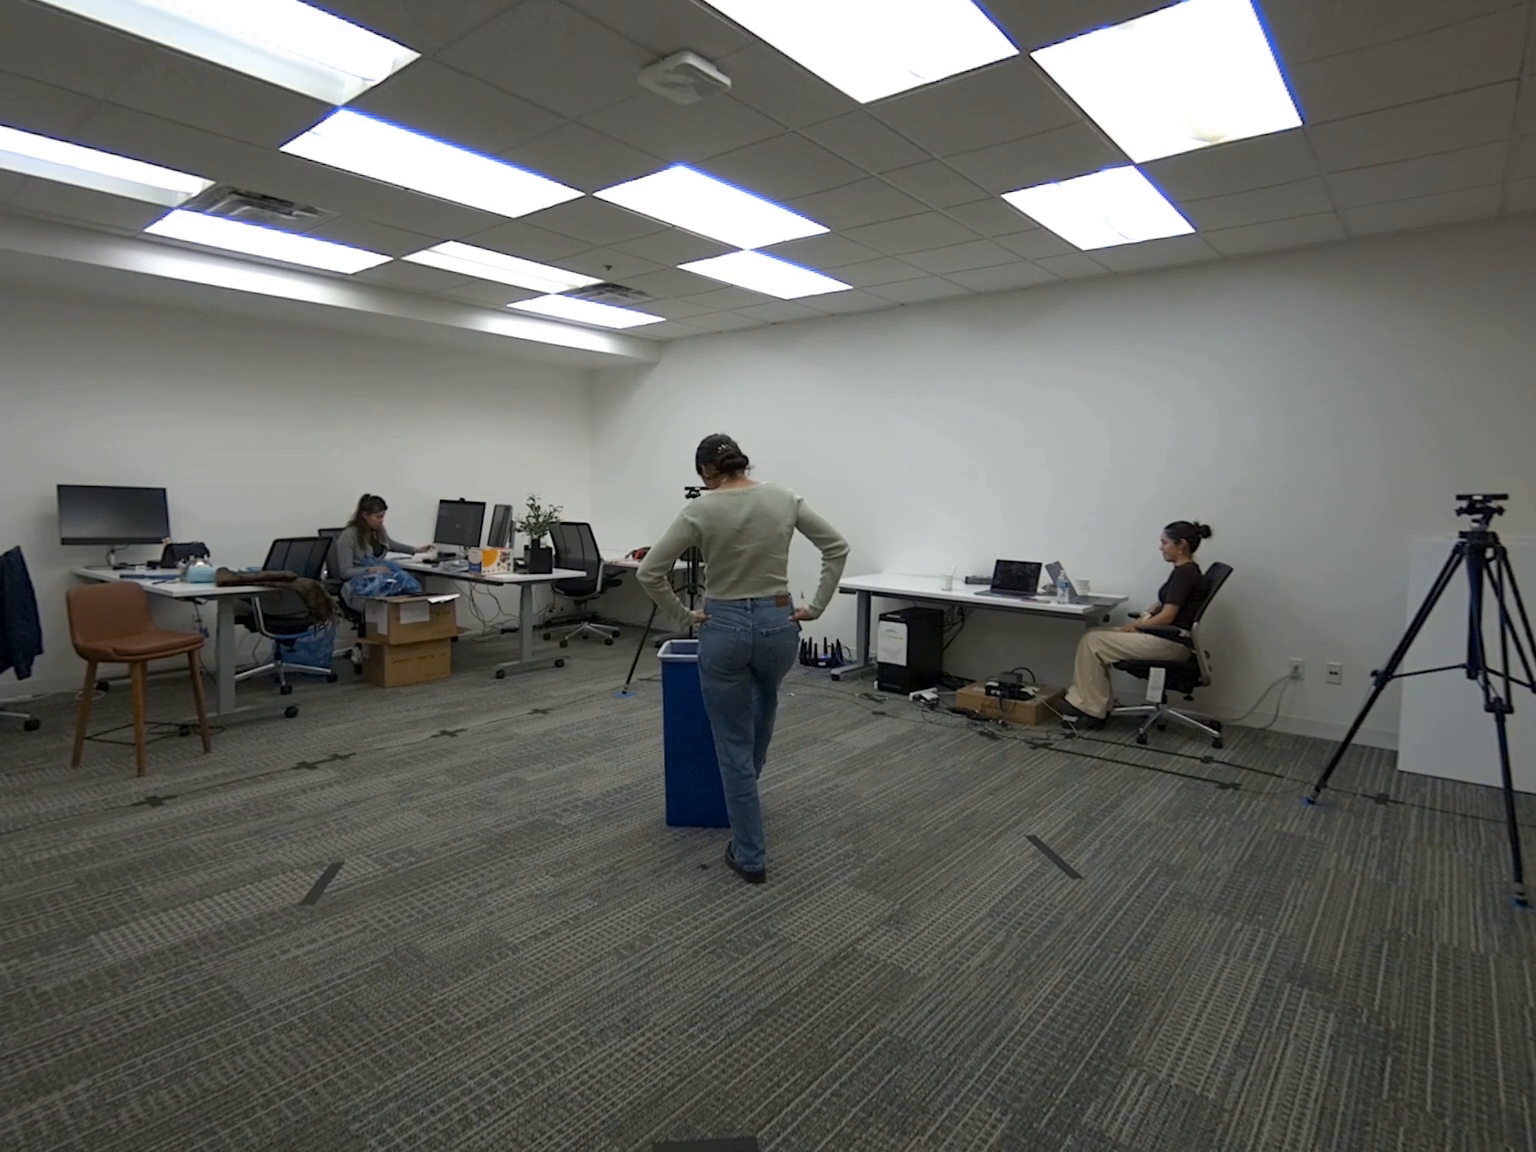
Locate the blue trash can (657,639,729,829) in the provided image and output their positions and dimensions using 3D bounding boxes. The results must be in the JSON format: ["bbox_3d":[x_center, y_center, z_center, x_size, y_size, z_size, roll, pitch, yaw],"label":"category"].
[{"bbox_3d":[-0.286,0.655,3.621,0.379,0.711,0.374,0,4,2],"label":"blue trash can"}]
